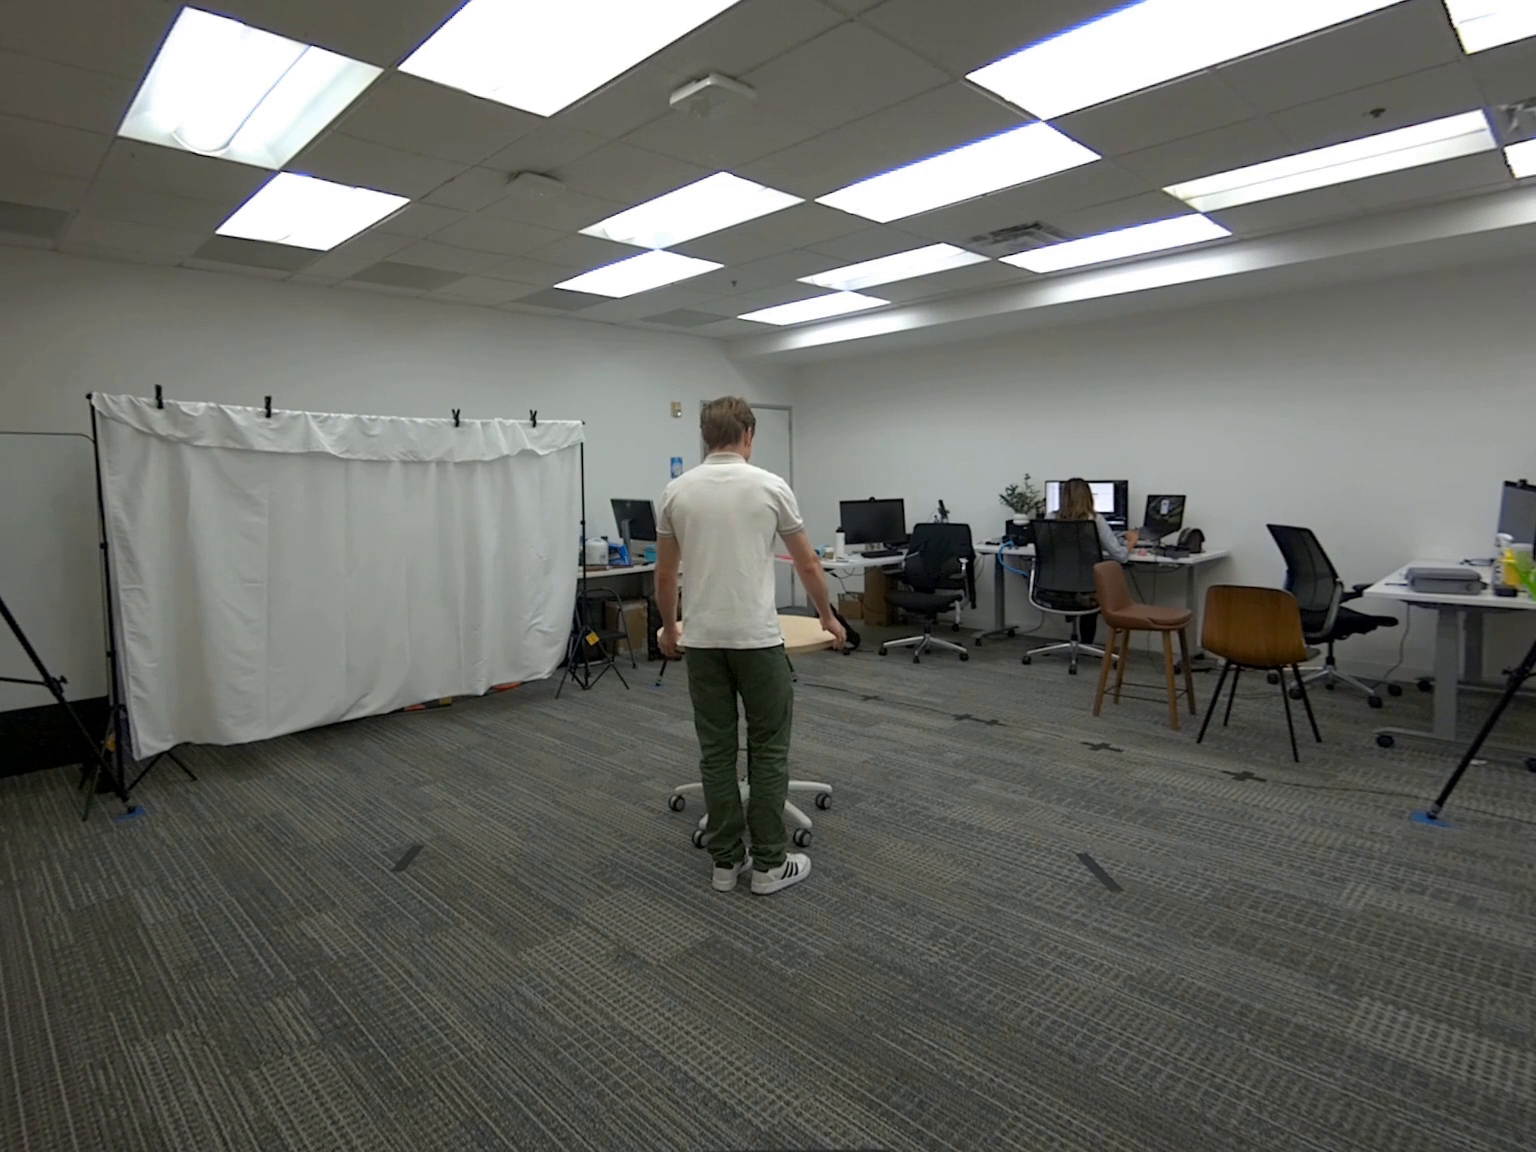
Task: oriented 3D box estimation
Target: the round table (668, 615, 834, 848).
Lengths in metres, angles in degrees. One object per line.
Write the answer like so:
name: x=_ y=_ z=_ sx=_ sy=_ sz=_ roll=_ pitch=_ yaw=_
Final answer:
round table: x=-0.062 y=0.614 z=3.519 sx=0.763 sy=0.791 sz=0.768 roll=-1 pitch=5 yaw=-2
